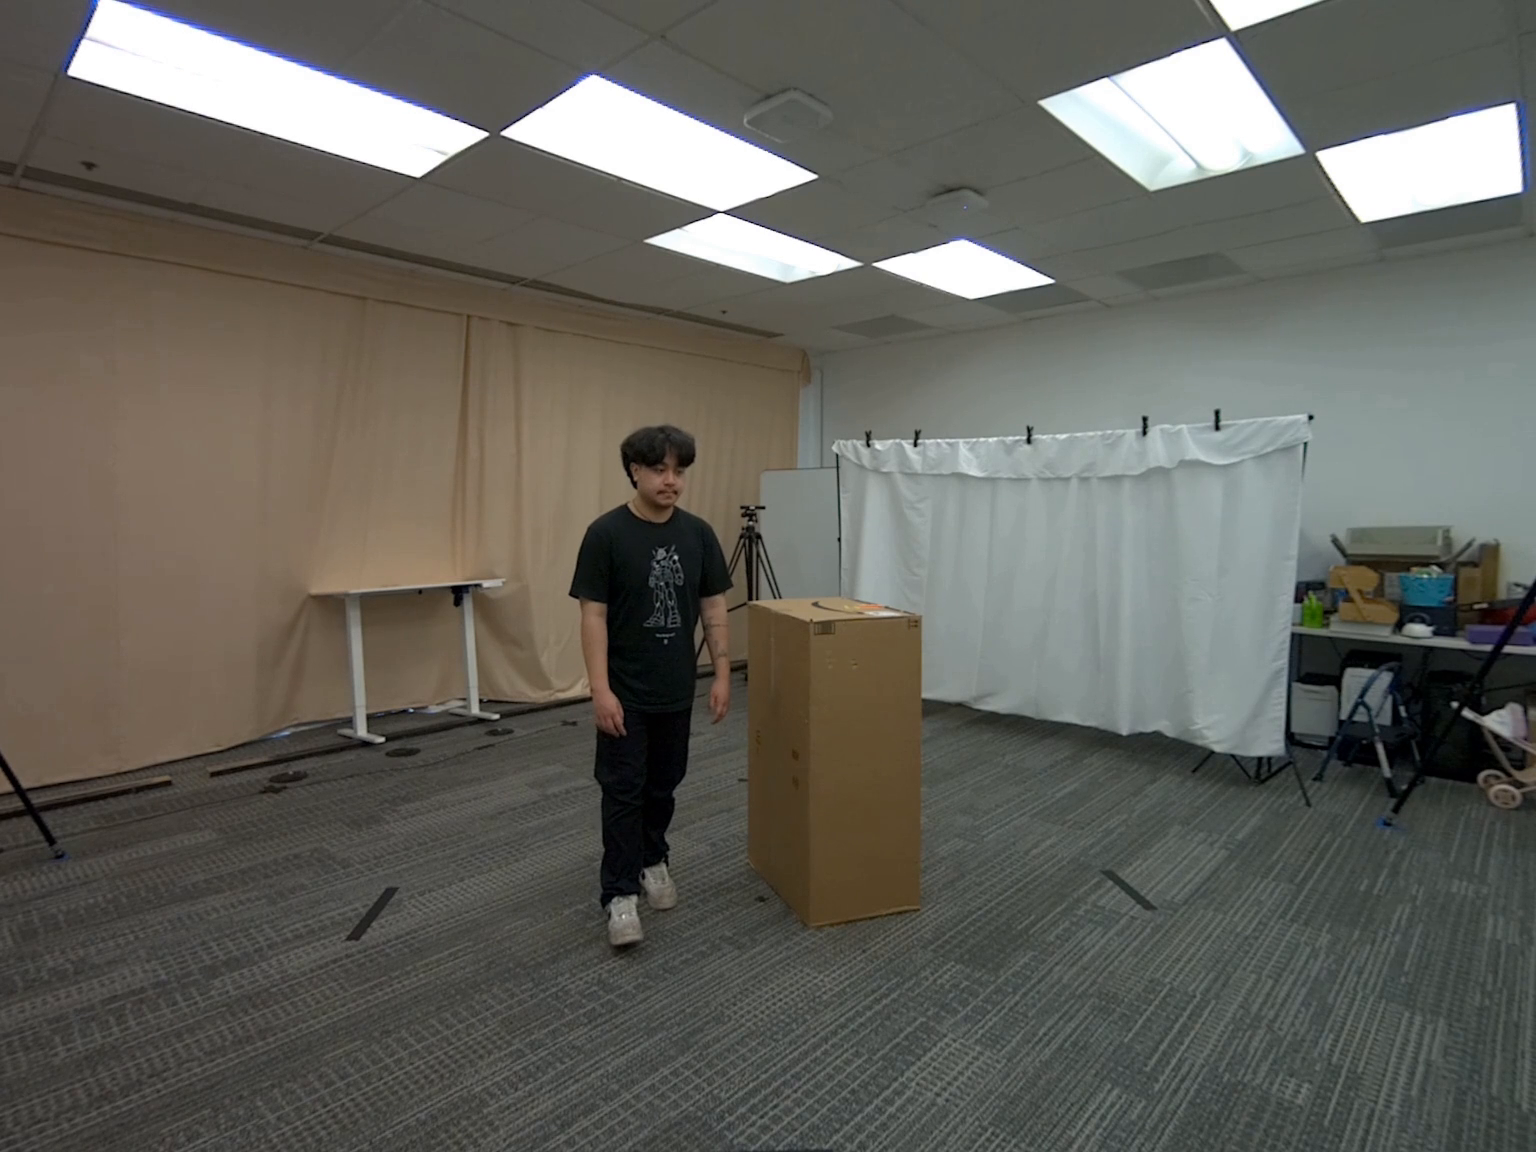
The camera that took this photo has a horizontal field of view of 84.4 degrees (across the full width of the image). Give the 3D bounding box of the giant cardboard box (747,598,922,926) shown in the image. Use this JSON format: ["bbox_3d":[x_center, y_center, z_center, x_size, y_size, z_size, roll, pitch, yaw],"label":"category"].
[{"bbox_3d":[0.227,0.621,3.082,0.438,1.025,0.597,-1,3,-20],"label":"giant cardboard box"}]
